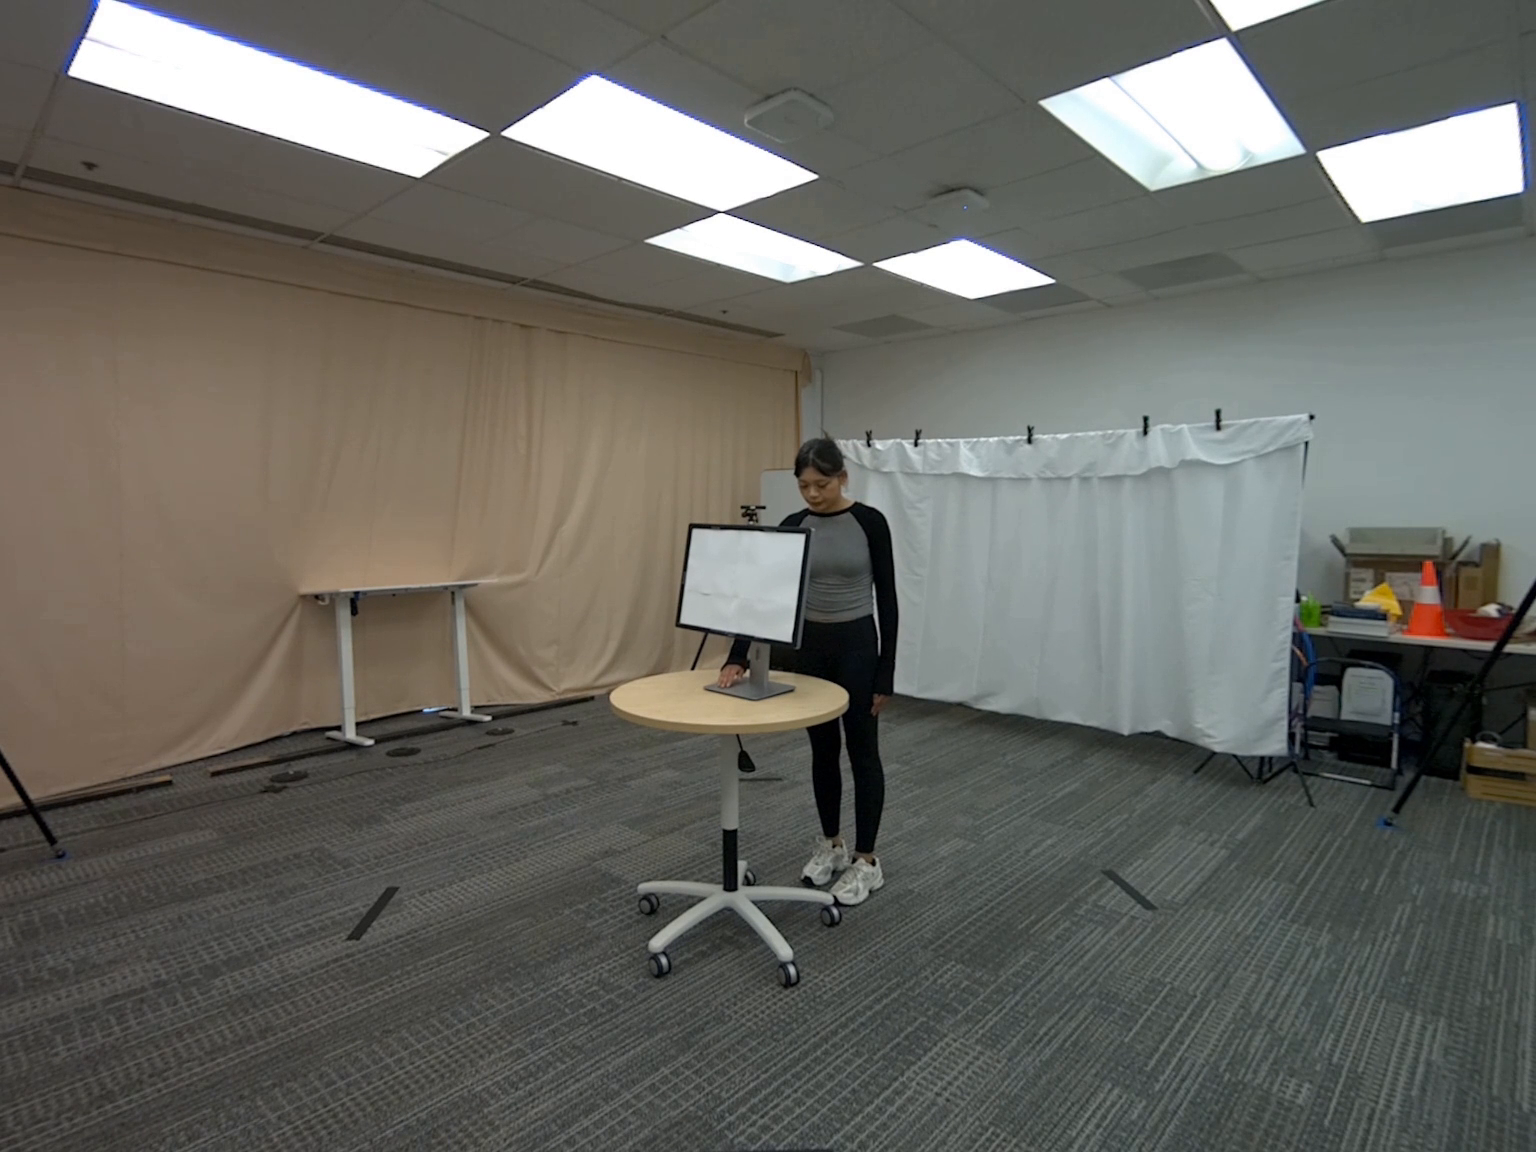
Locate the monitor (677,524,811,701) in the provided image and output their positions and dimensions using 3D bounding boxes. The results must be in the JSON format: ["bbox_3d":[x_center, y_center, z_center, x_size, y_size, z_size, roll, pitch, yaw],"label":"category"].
[{"bbox_3d":[-0.060,0.107,2.745,0.557,0.521,0.181,5,7,44],"label":"monitor"}]
